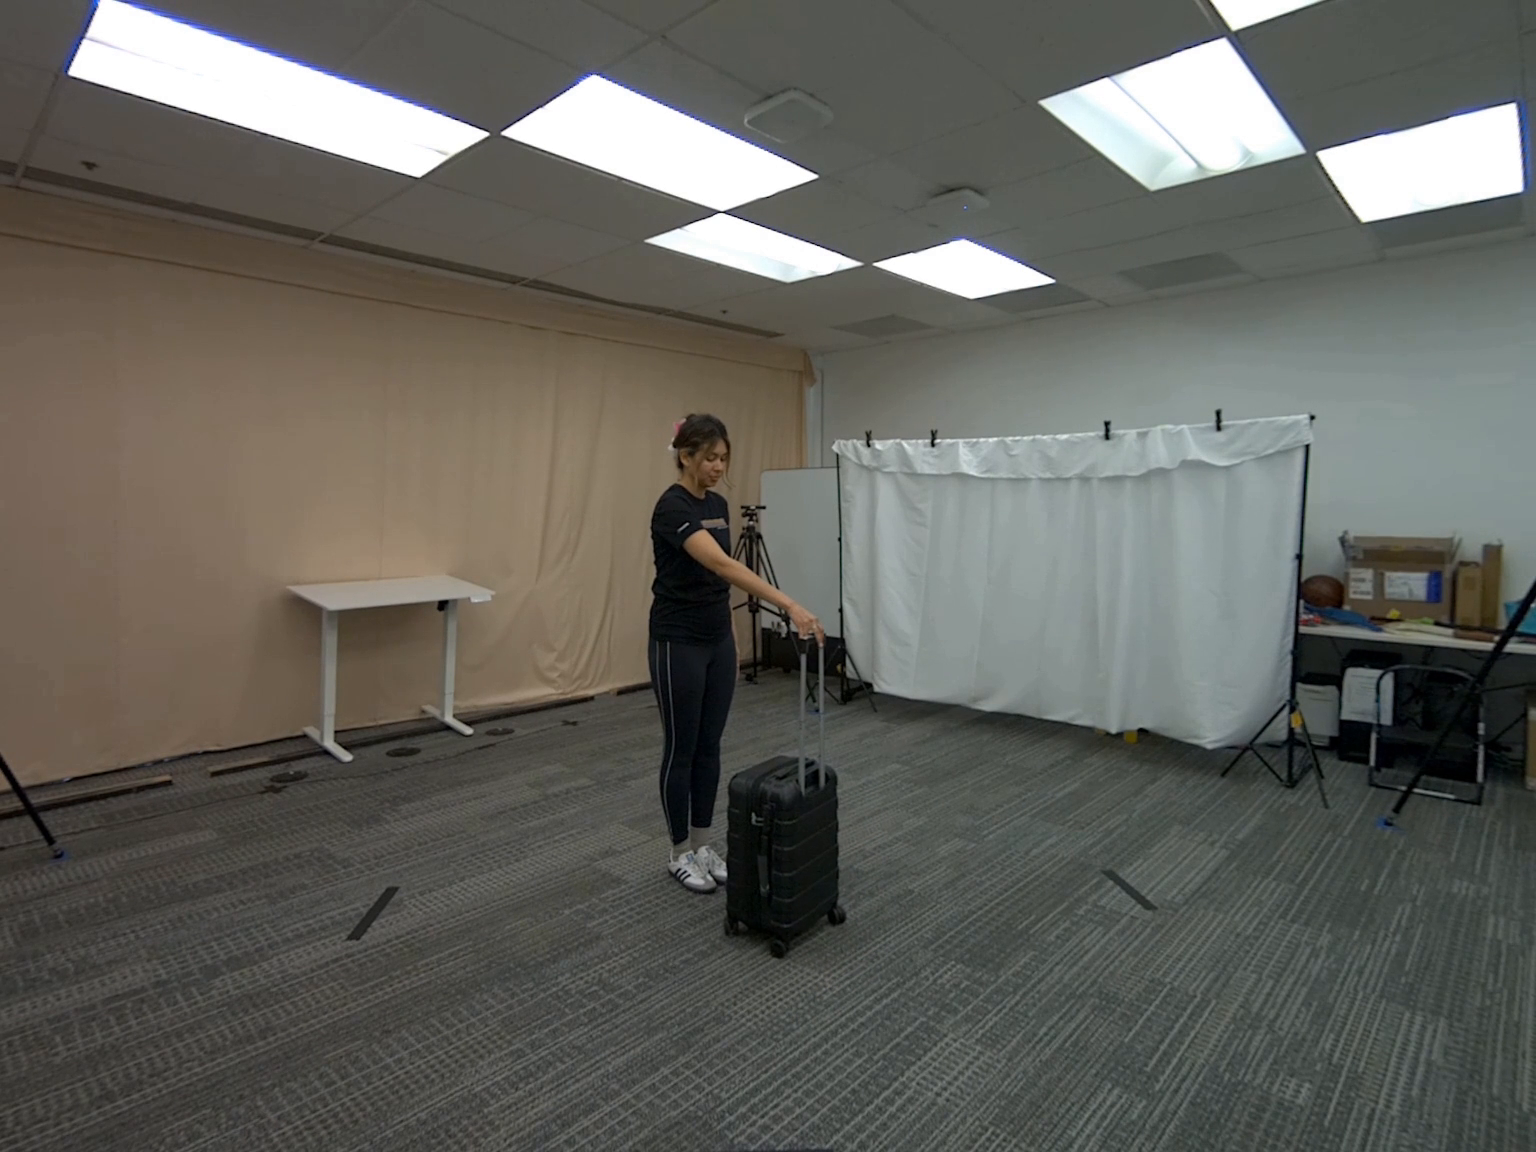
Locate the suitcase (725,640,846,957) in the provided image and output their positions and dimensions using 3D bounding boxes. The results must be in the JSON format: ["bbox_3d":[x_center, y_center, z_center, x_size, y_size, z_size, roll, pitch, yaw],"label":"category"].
[{"bbox_3d":[0.051,0.683,2.748,0.265,0.977,0.373,1,3,34],"label":"suitcase"}]
